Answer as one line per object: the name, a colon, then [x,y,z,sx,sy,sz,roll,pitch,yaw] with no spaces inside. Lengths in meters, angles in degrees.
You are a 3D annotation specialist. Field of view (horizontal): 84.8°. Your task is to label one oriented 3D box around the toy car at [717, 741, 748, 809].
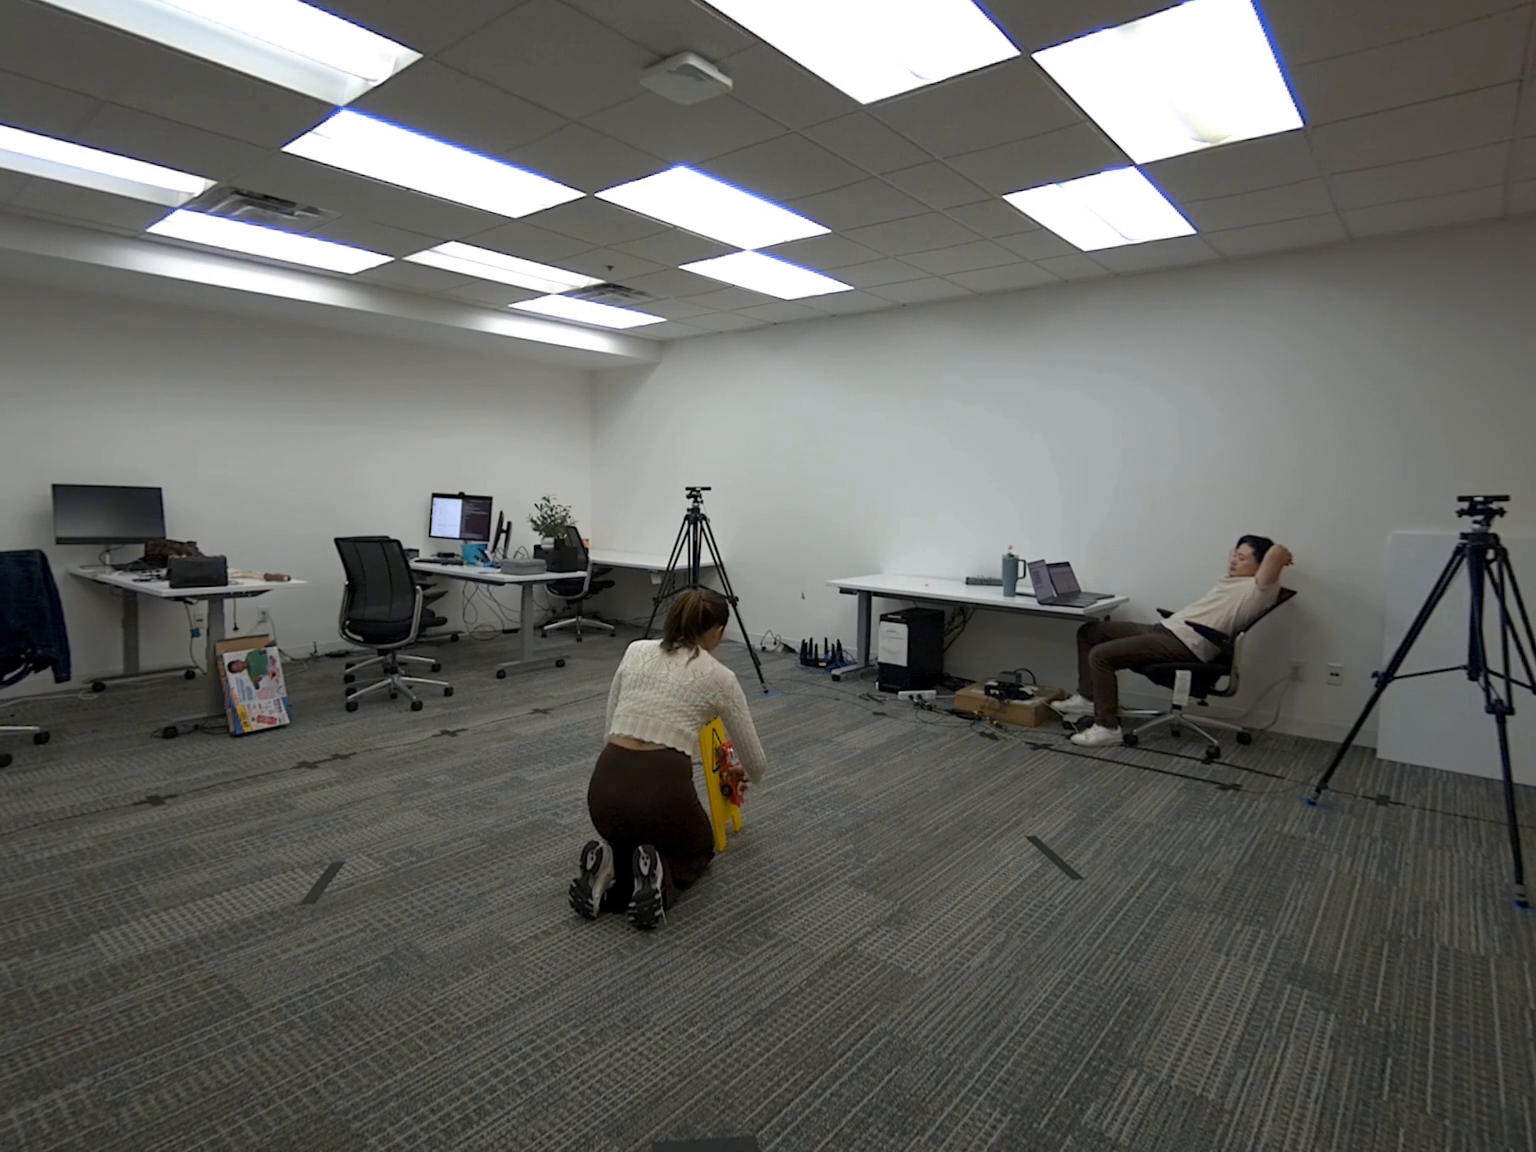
toy car: [-0.158,0.793,3.381,0.084,0.257,0.128,-22,-7,14]
